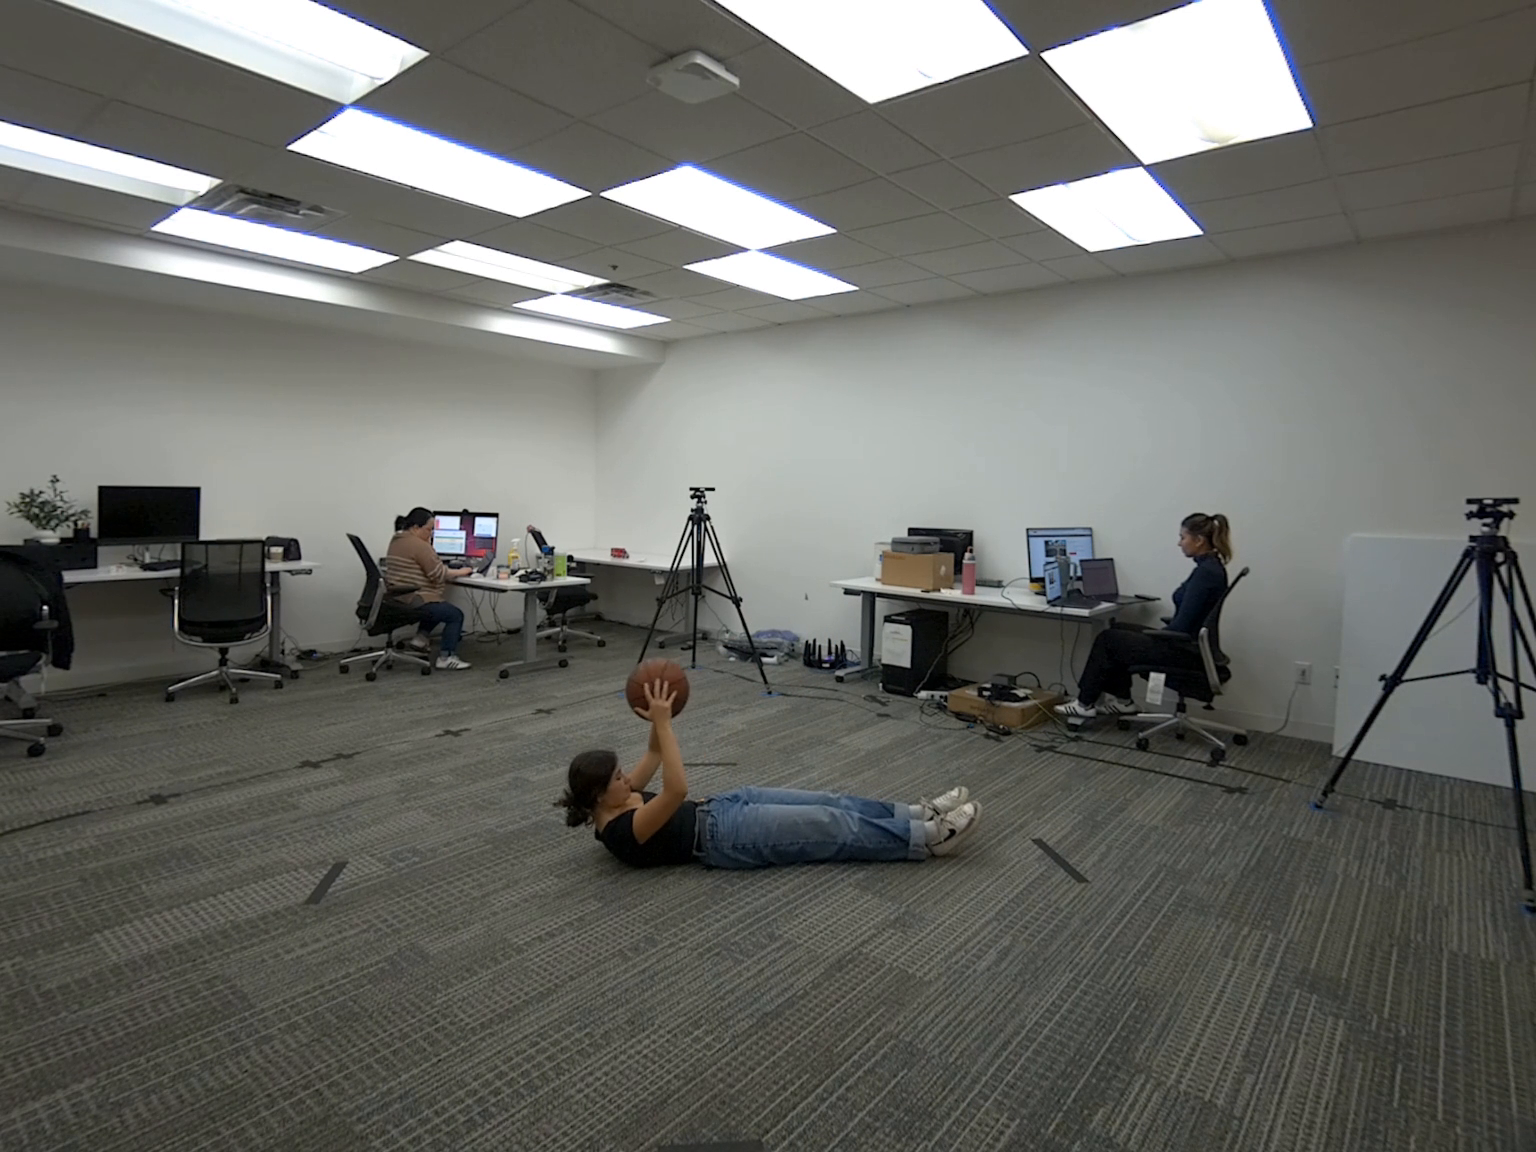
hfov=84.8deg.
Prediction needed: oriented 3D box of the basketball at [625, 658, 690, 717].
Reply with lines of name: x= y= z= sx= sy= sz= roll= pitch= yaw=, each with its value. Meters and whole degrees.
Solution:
basketball: x=-0.429 y=0.427 z=3.178 sx=0.235 sy=0.235 sz=0.237 roll=1 pitch=4 yaw=-2
